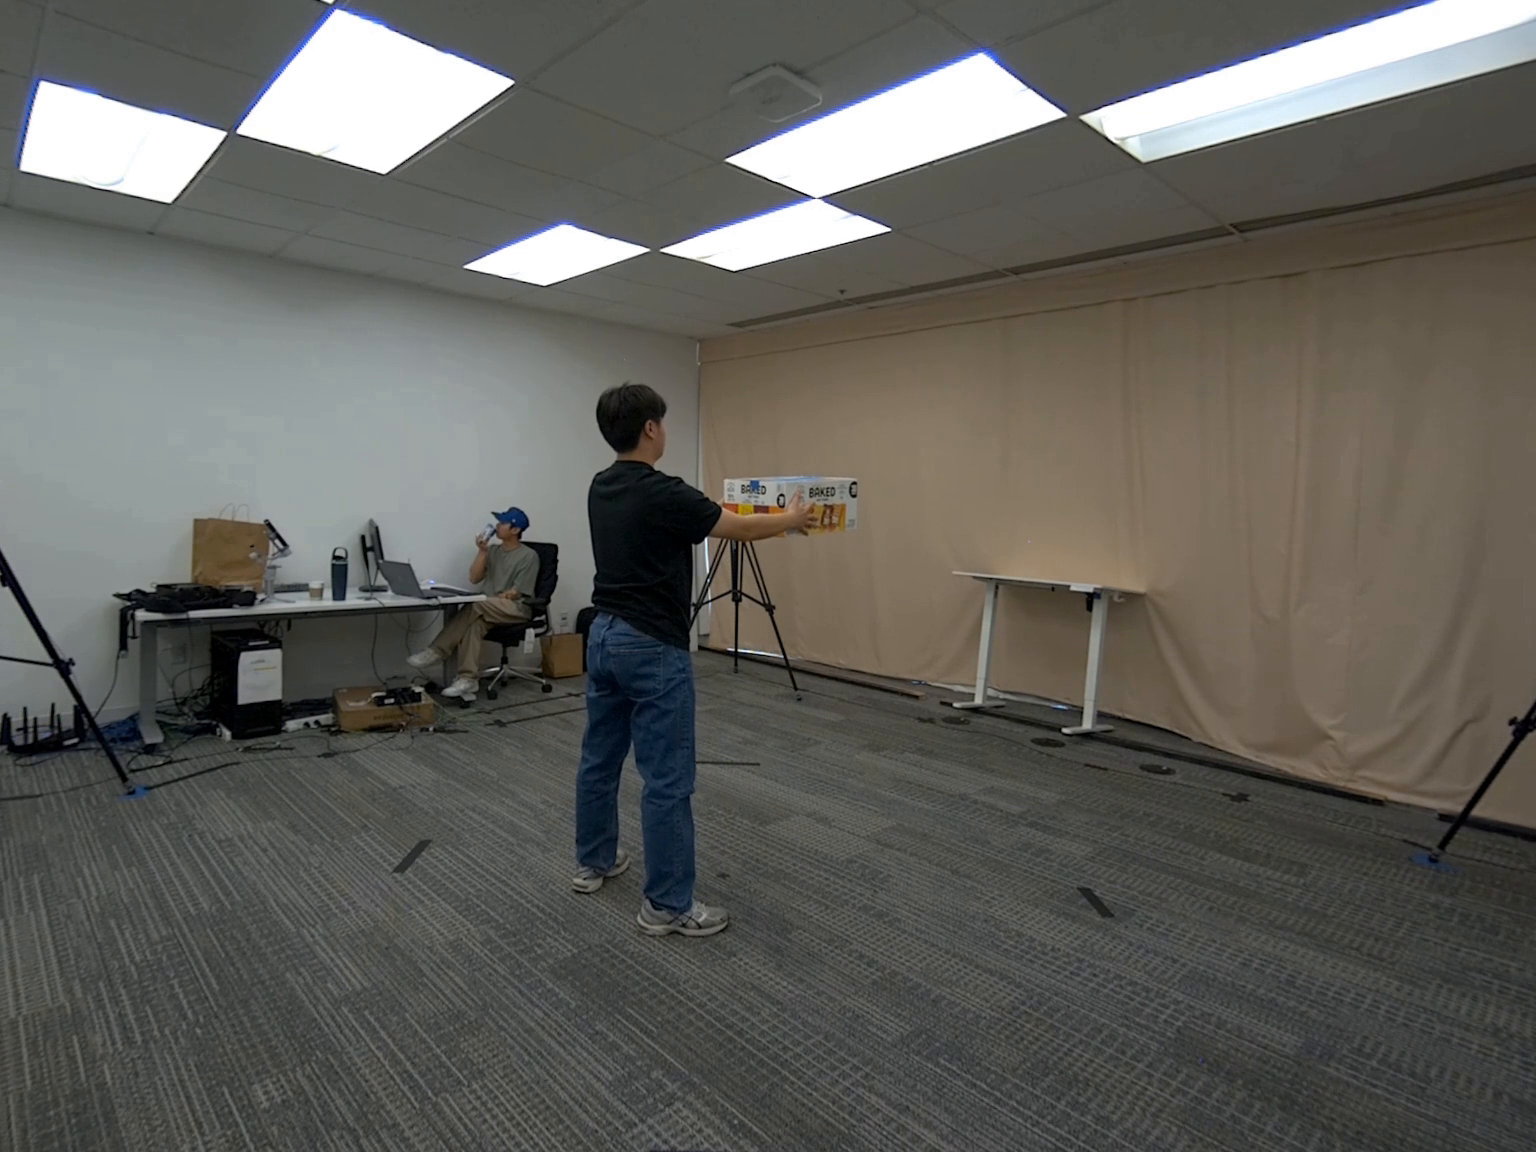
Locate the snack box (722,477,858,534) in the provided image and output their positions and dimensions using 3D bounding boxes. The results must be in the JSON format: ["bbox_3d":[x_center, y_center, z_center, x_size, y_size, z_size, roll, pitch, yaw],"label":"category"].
[{"bbox_3d":[0.085,-0.280,3.291,0.396,0.204,0.349,-7,12,-43],"label":"snack box"}]
